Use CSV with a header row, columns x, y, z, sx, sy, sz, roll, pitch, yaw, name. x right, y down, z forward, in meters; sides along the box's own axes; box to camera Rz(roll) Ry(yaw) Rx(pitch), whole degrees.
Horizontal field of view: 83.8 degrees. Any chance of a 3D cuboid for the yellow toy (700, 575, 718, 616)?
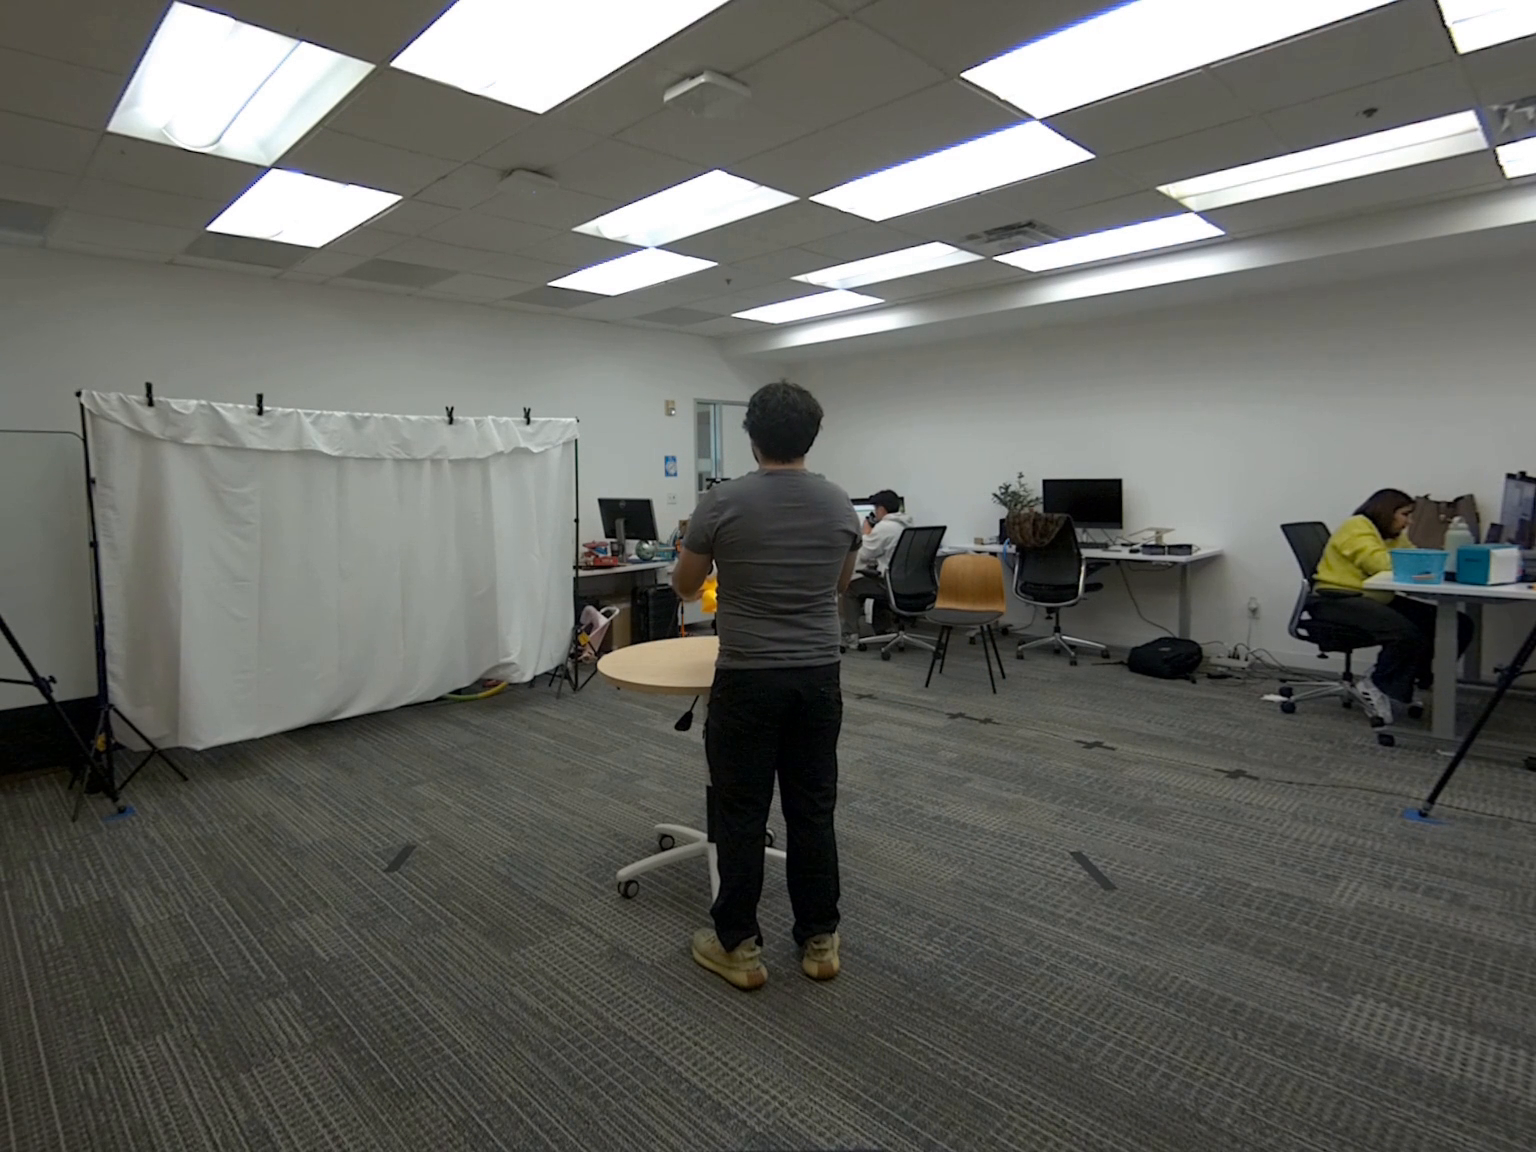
x,y,z,sx,sy,sz,roll,pitch,yaw,name
-0.123,-0.013,2.770,0.202,0.234,0.193,-4,-14,-17,yellow toy
